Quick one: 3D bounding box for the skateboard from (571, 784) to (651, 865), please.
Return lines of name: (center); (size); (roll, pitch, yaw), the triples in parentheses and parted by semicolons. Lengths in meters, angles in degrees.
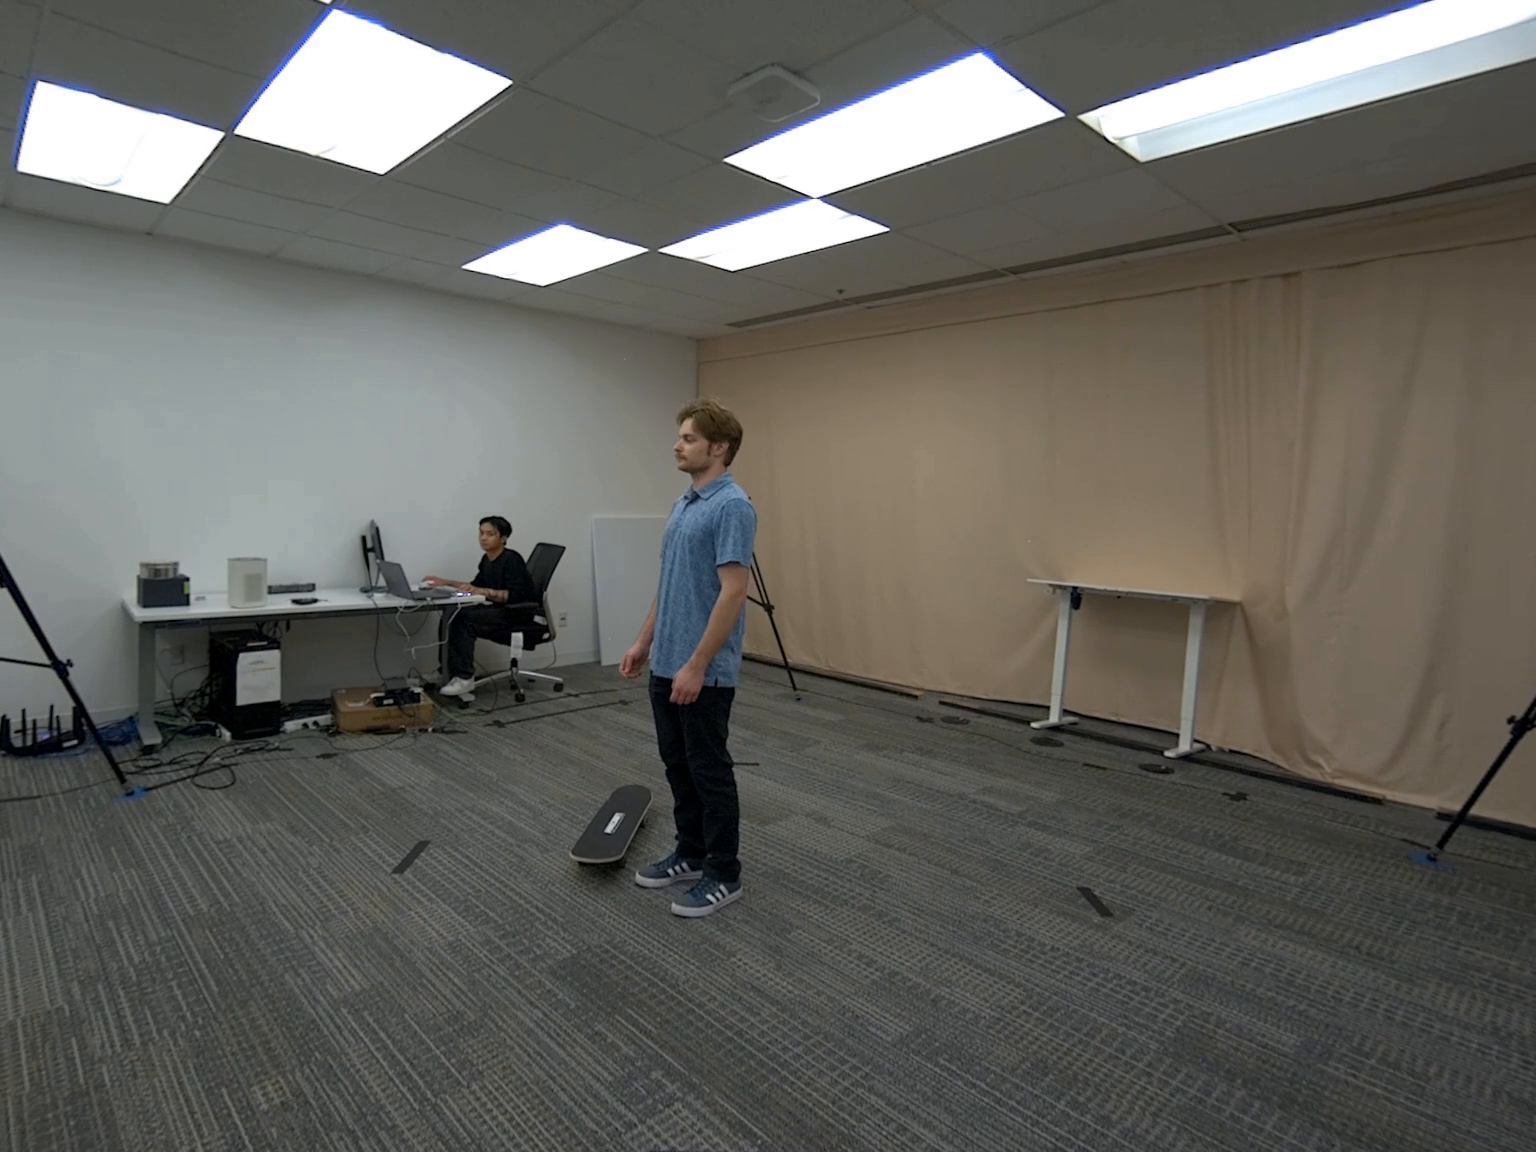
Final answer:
skateboard: (-0.621, 1.014, 3.359); (0.194, 0.110, 0.784); (2, 5, 4)
